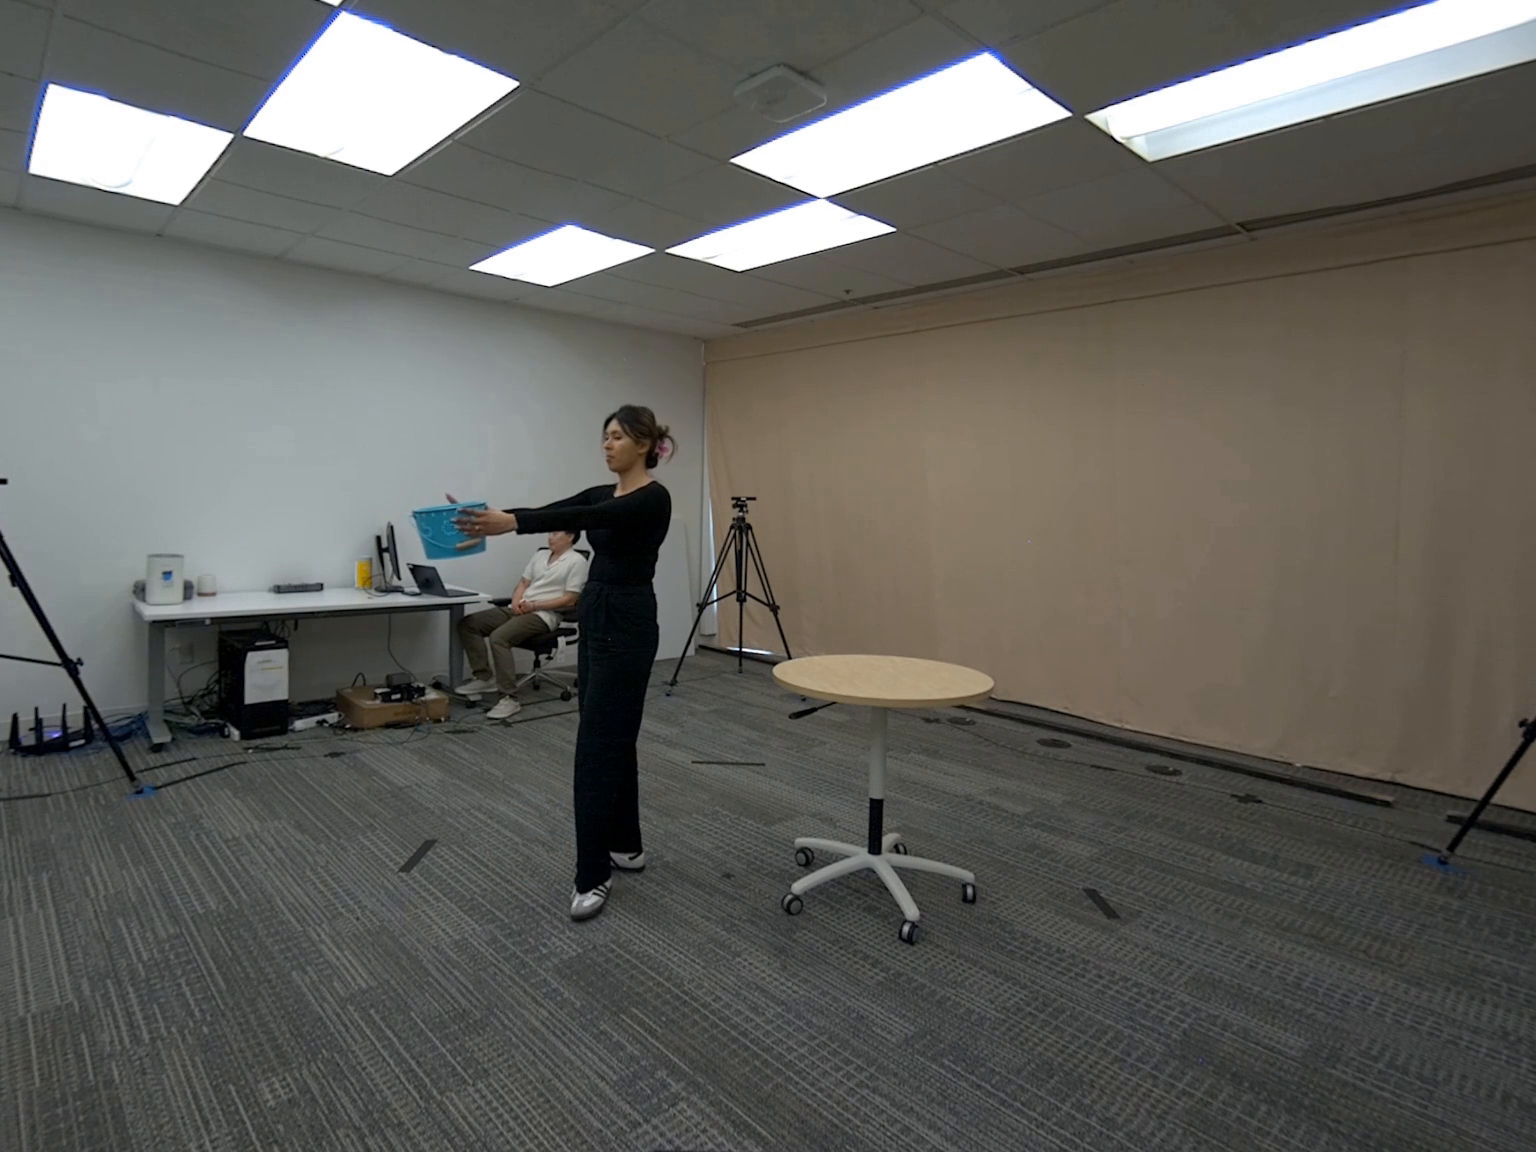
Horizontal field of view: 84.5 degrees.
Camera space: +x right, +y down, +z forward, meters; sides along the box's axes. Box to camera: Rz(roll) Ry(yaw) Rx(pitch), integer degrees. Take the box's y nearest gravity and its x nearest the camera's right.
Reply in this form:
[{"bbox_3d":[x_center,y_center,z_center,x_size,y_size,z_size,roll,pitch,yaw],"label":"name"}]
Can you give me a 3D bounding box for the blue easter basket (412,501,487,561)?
[{"bbox_3d":[-0.983,-0.139,2.601,0.243,0.155,0.245,-4,7,-1],"label":"blue easter basket"}]
